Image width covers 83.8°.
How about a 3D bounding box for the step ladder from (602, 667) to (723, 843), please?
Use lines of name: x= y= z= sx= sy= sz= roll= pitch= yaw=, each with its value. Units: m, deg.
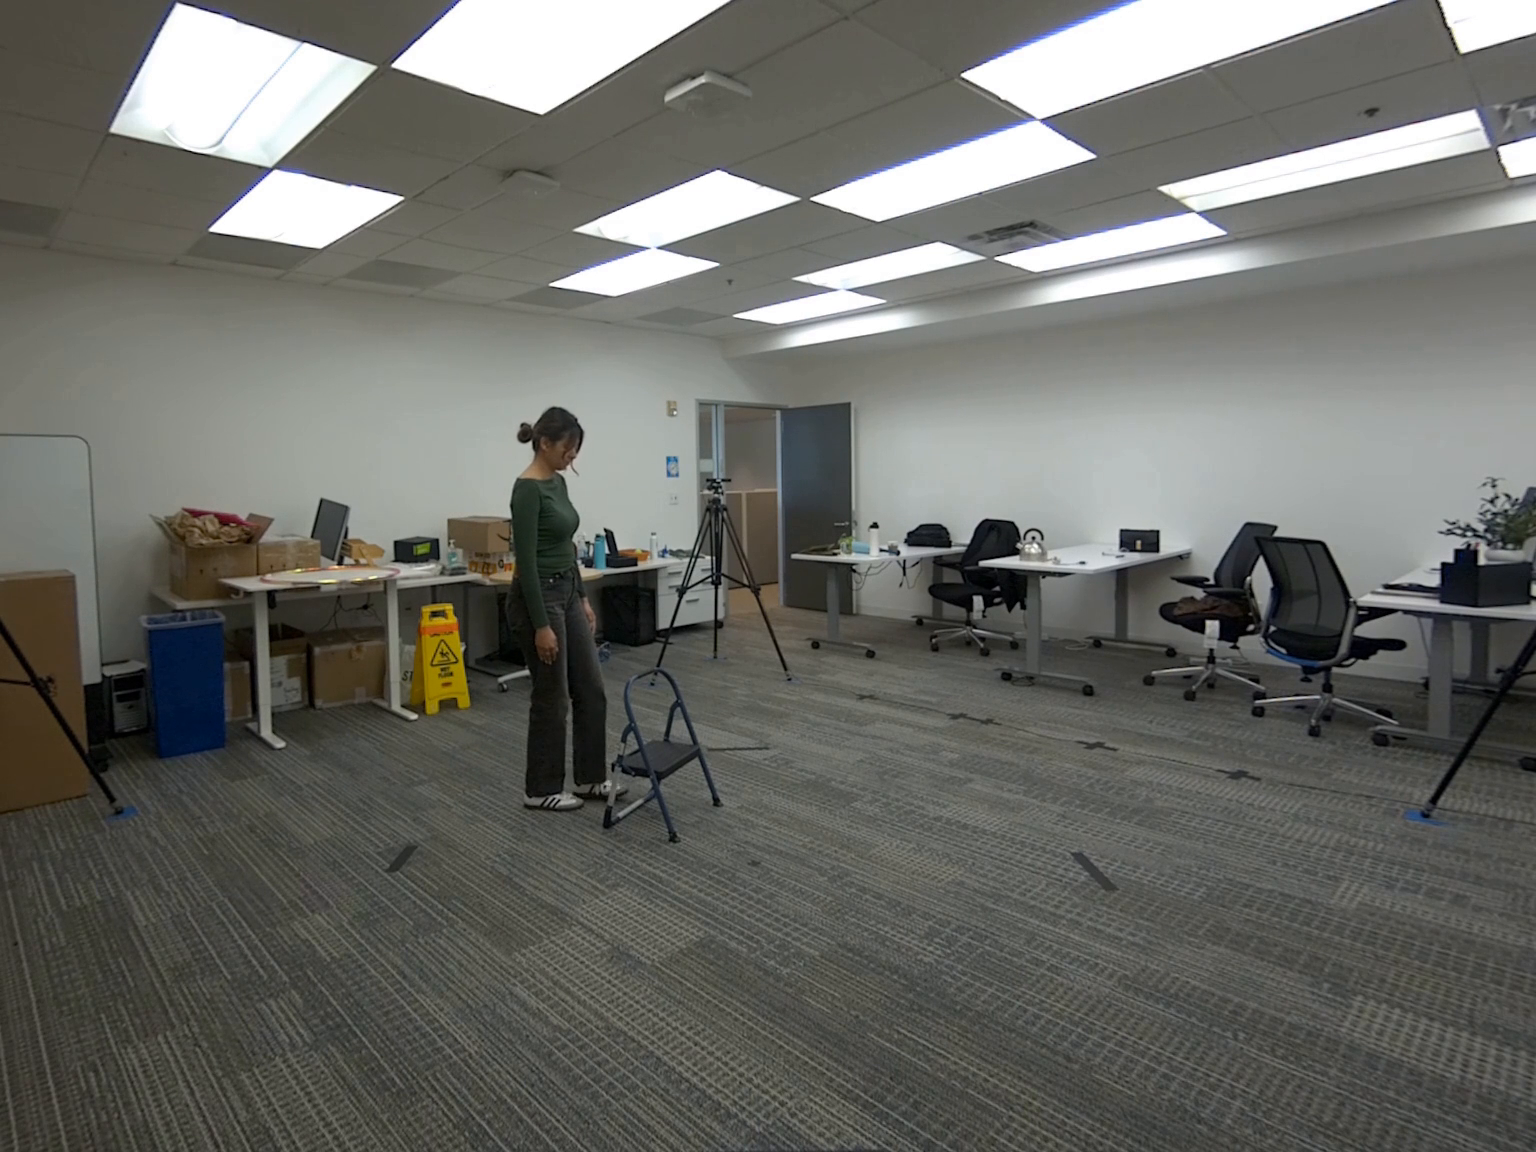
step ladder: x=-0.439 y=0.700 z=3.535 sx=0.357 sy=0.604 sz=0.423 roll=1 pitch=4 yaw=23
